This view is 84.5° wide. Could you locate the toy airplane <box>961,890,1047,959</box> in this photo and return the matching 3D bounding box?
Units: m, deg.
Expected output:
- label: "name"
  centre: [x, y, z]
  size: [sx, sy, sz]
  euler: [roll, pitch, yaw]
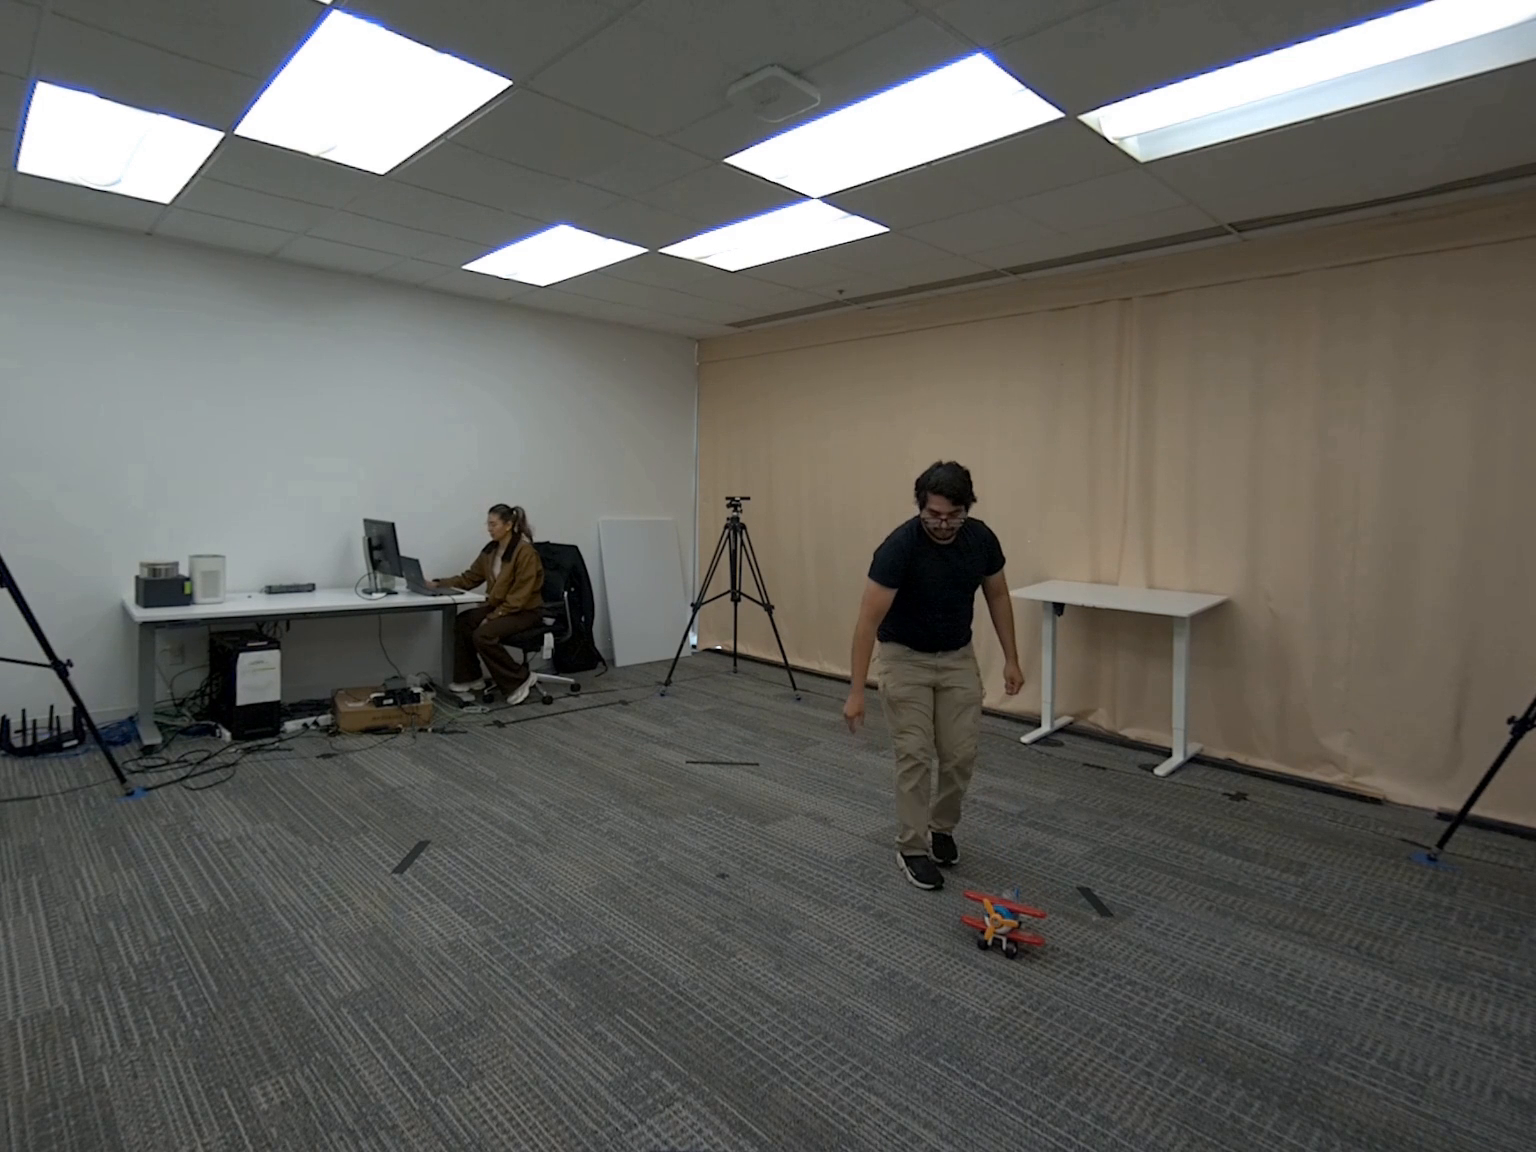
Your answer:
- label: "toy airplane"
  centre: [0.731, 1.094, 2.693]
  size: [0.252, 0.156, 0.259]
  euler: [2, 6, 4]
